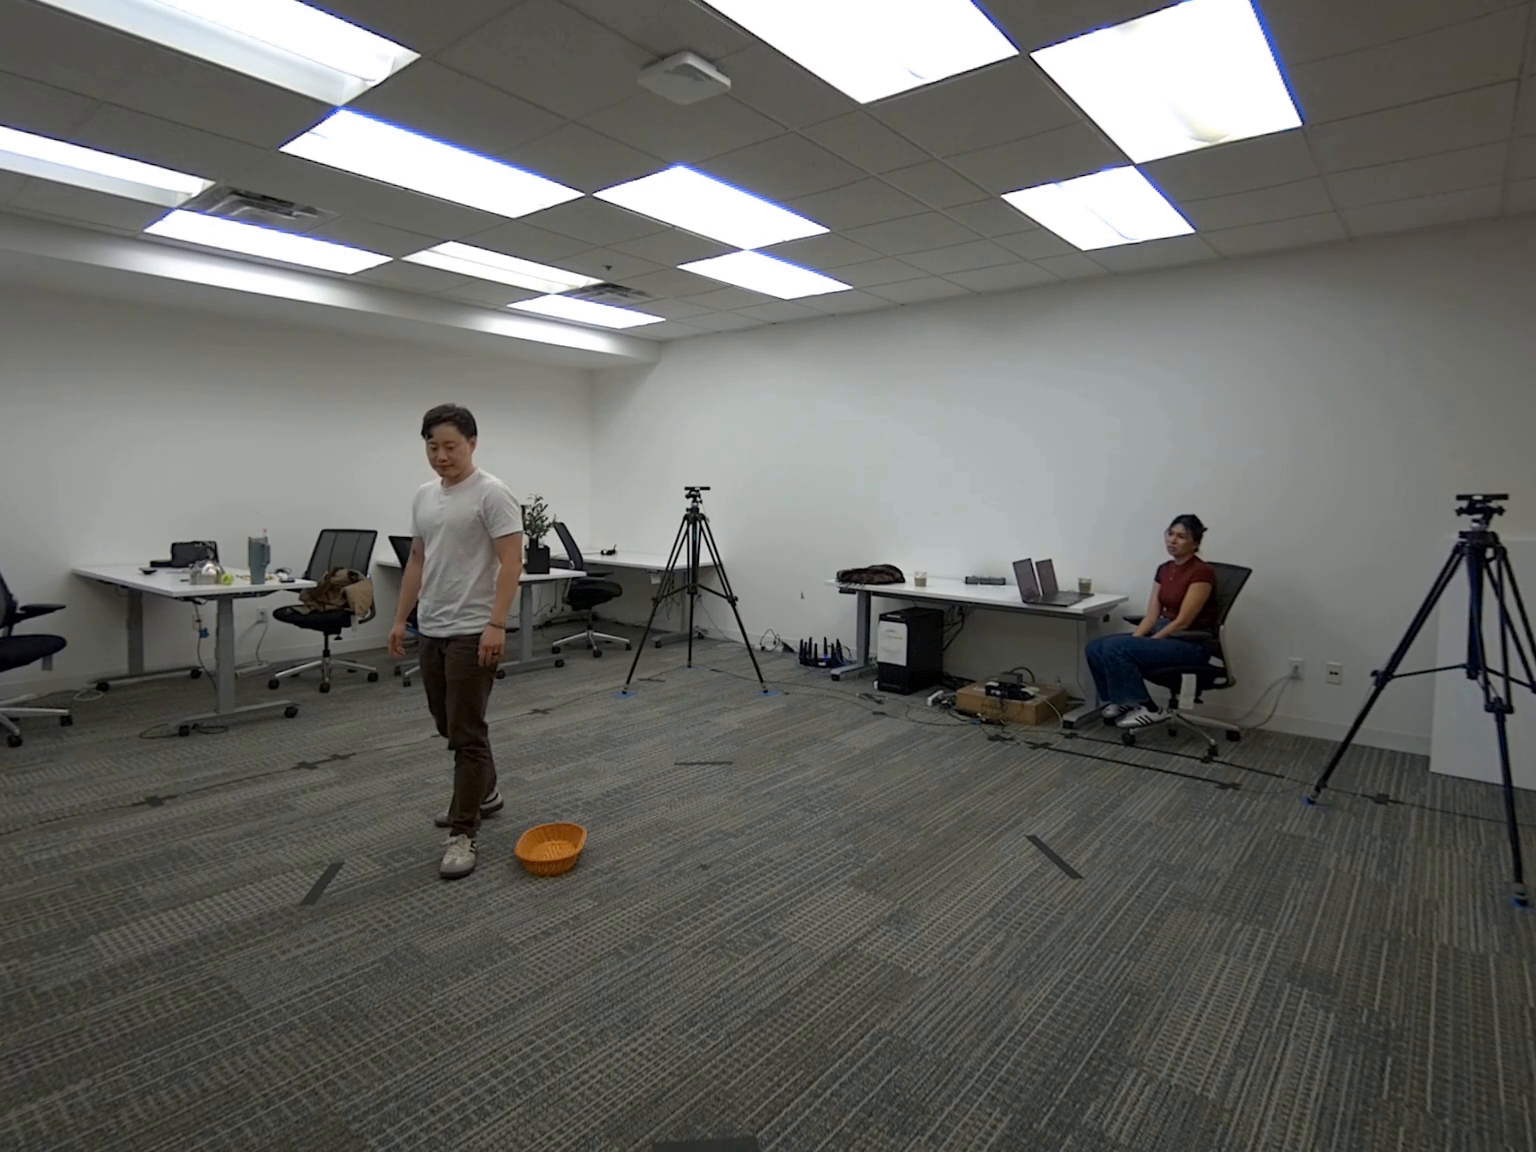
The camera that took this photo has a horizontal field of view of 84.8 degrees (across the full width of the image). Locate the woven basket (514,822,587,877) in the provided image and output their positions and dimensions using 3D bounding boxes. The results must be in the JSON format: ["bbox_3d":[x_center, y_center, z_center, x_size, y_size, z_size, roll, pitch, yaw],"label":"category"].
[{"bbox_3d":[-0.812,1.014,3.162,0.253,0.073,0.351,0,5,0],"label":"woven basket"}]
